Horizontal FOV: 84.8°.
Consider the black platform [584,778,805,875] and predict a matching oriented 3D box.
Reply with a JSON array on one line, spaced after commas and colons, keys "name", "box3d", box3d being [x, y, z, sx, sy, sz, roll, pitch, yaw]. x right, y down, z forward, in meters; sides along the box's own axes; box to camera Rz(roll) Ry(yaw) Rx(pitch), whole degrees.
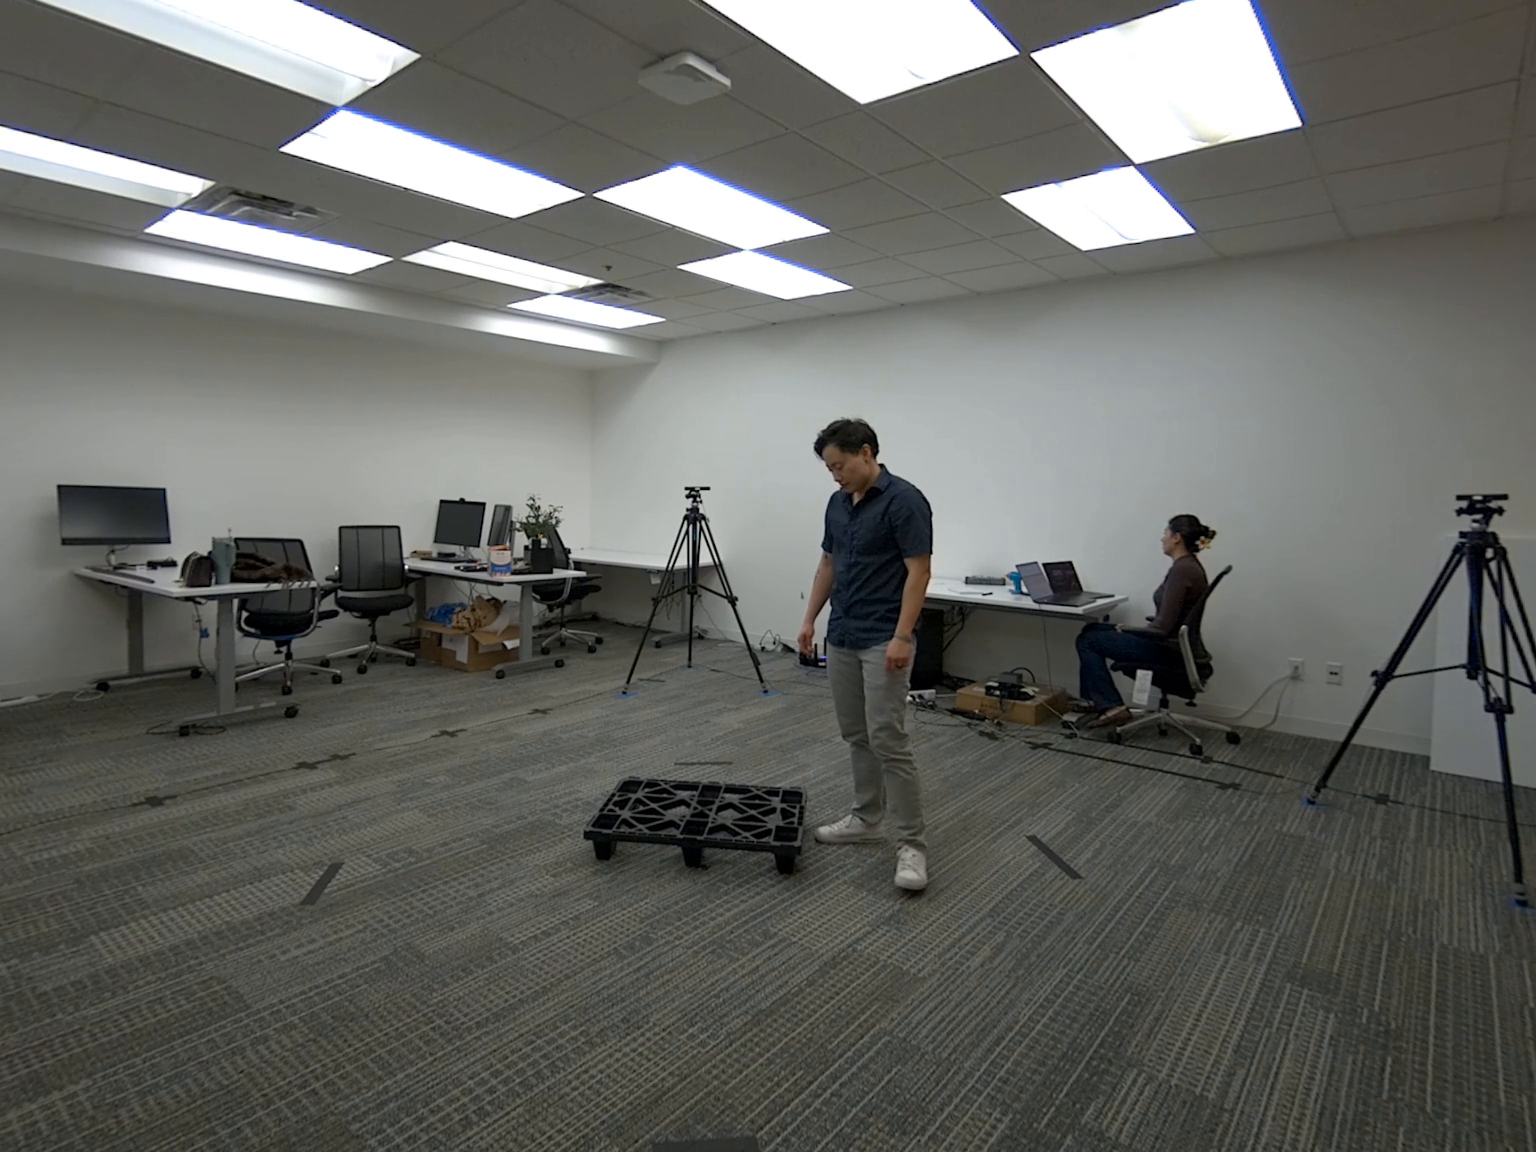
[{"name": "black platform", "box3d": [-0.262, 0.975, 3.341, 0.812, 0.142, 0.603, 1, 6, 7]}]
